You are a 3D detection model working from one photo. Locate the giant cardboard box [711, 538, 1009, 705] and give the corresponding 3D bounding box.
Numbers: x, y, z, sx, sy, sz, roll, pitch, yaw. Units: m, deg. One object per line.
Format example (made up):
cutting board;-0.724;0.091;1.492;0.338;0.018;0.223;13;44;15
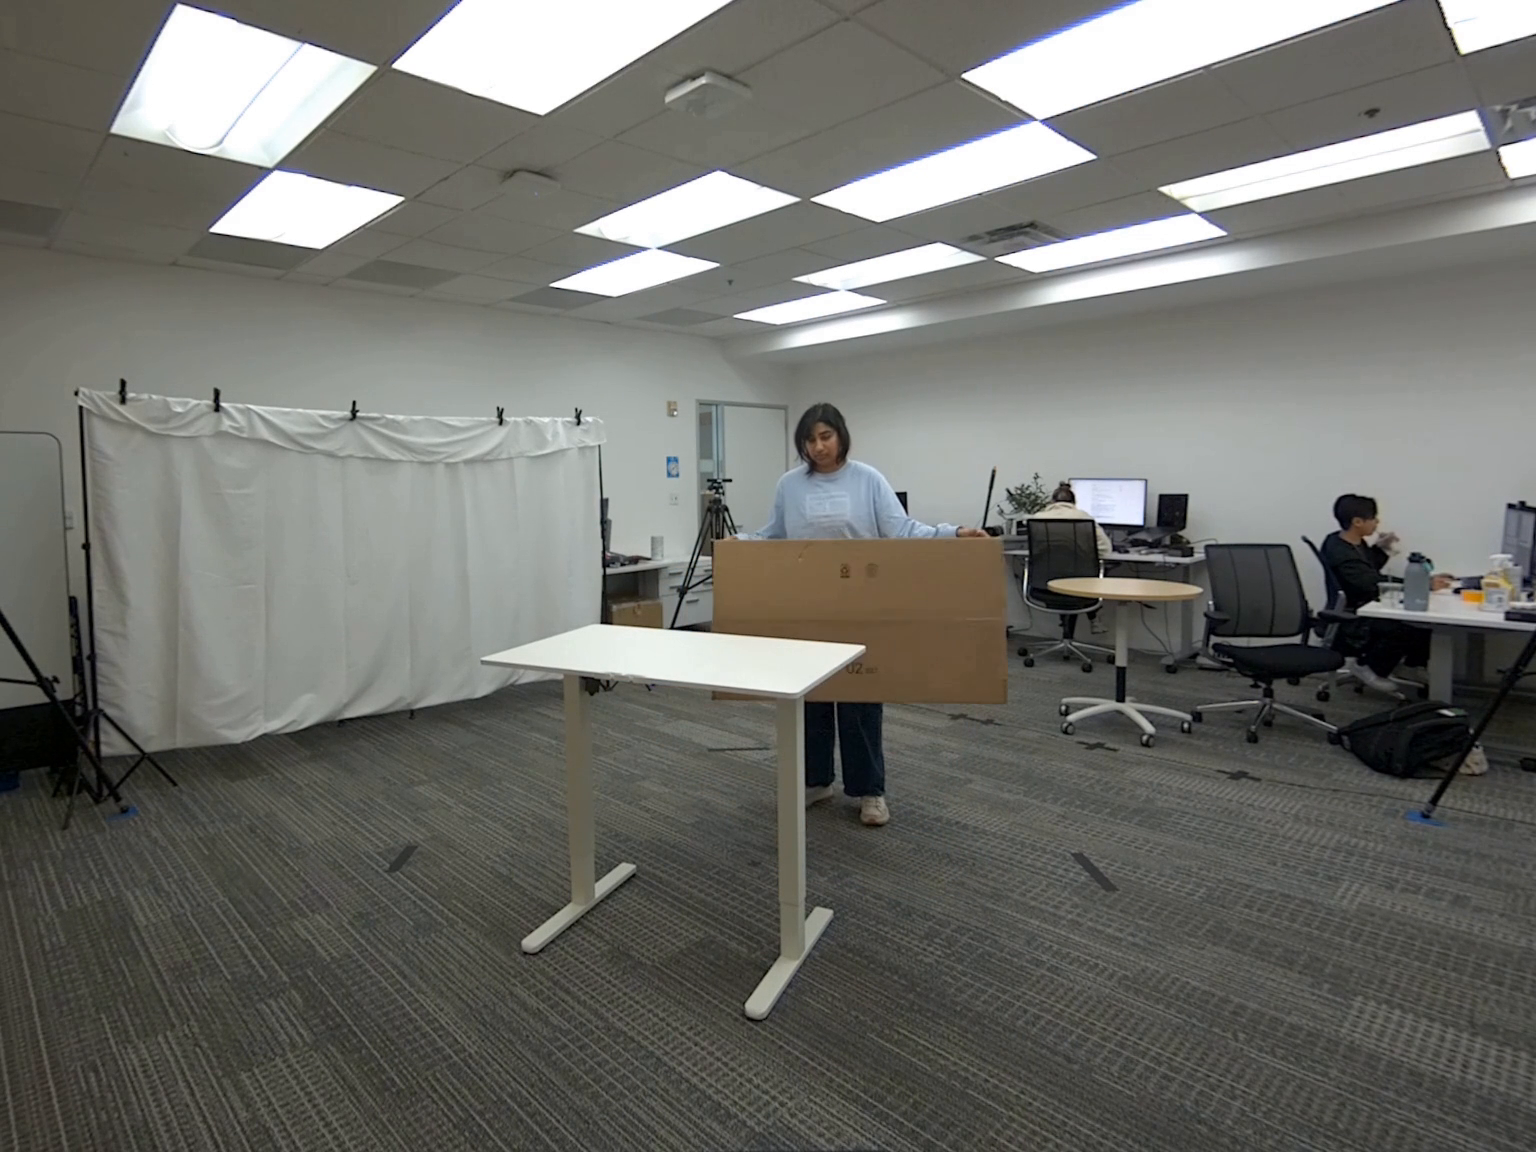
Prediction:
giant cardboard box;0.326;0.166;3.210;1.033;0.581;0.420;0;-6;7
